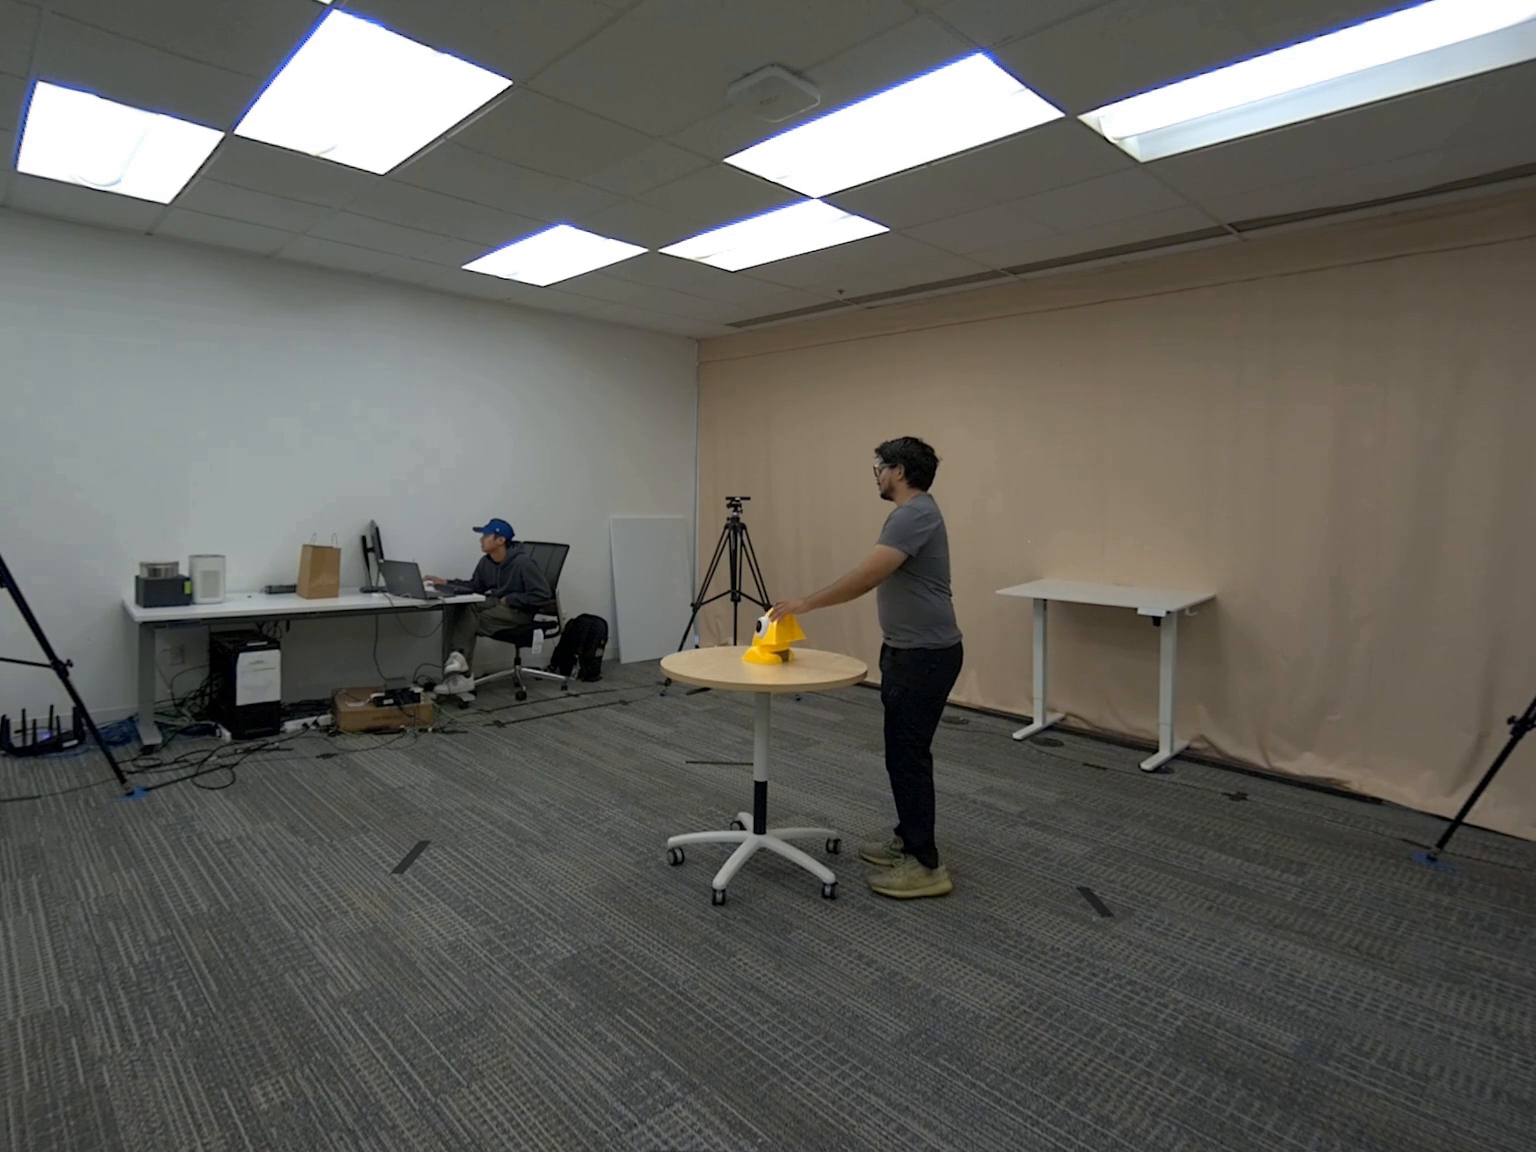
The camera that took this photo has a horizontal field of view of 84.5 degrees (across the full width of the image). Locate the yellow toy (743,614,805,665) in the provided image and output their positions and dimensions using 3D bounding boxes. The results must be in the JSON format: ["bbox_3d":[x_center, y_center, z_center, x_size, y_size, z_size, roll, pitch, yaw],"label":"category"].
[{"bbox_3d":[0.009,0.203,3.198,0.198,0.230,0.200,4,4,38],"label":"yellow toy"}]
